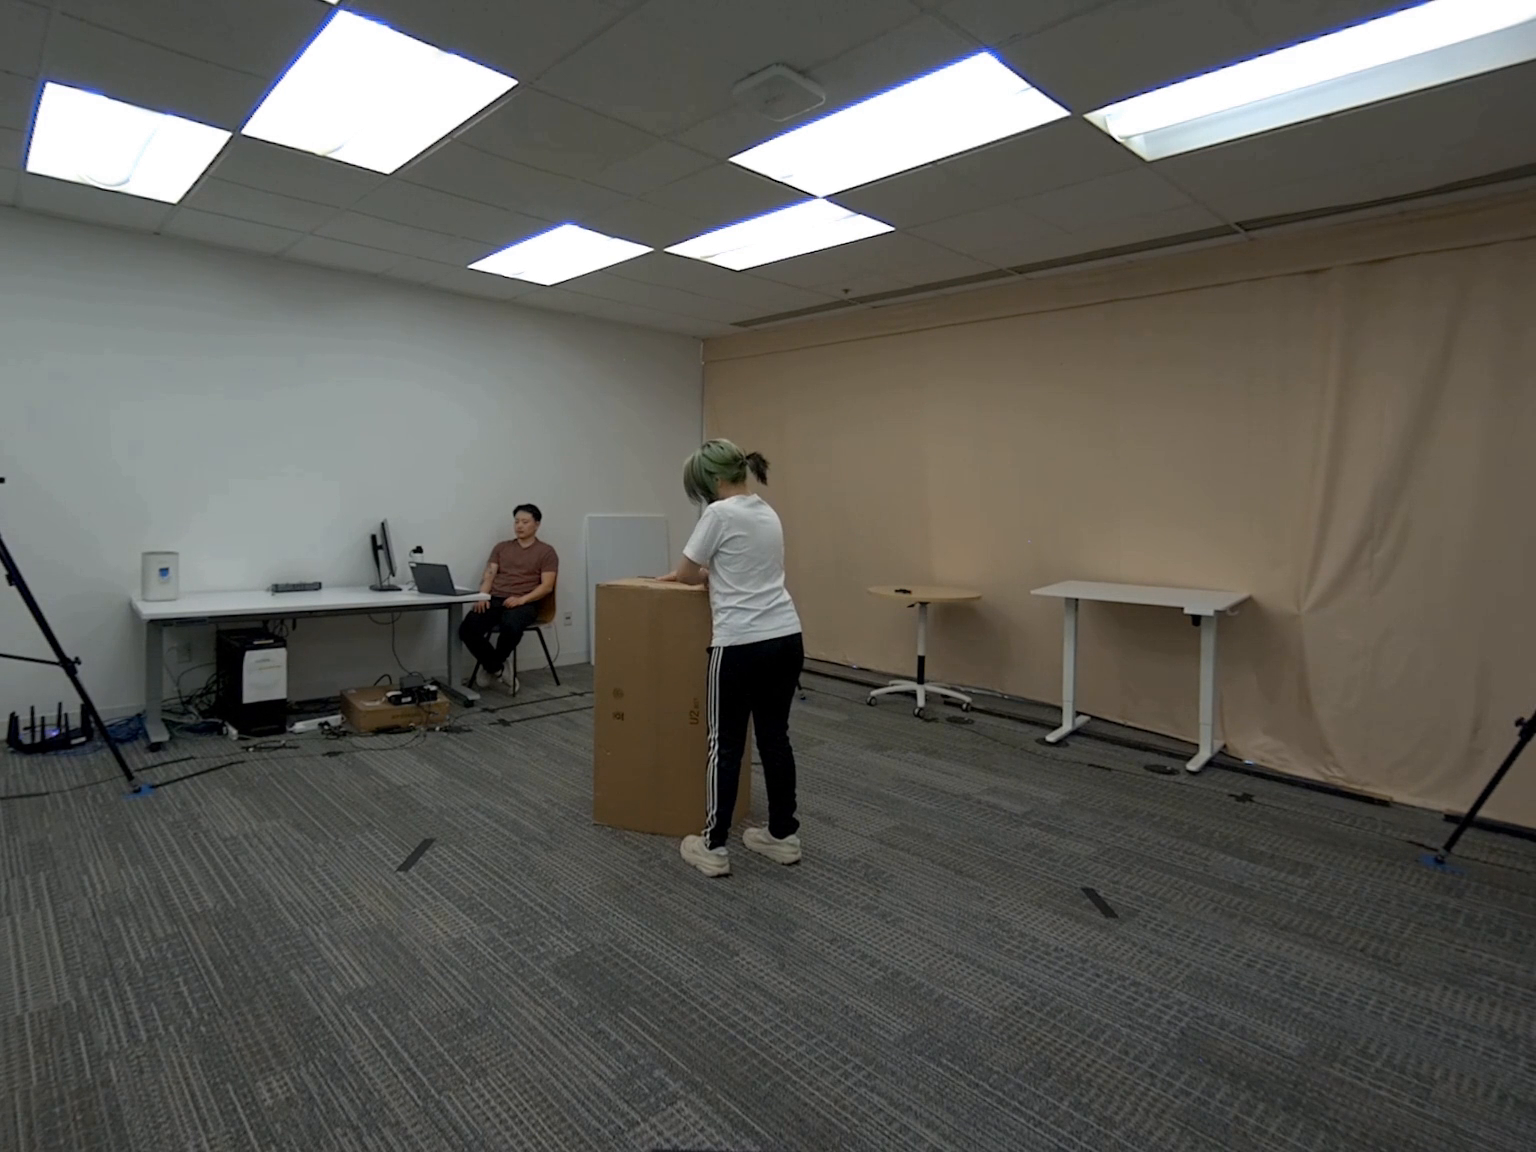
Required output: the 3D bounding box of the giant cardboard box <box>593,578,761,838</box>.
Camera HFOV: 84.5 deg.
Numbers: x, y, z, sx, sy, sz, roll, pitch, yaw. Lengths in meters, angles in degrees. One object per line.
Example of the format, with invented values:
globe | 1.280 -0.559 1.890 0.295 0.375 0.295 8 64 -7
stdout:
giant cardboard box | -0.406 0.541 3.645 0.592 1.024 0.441 3 4 18
